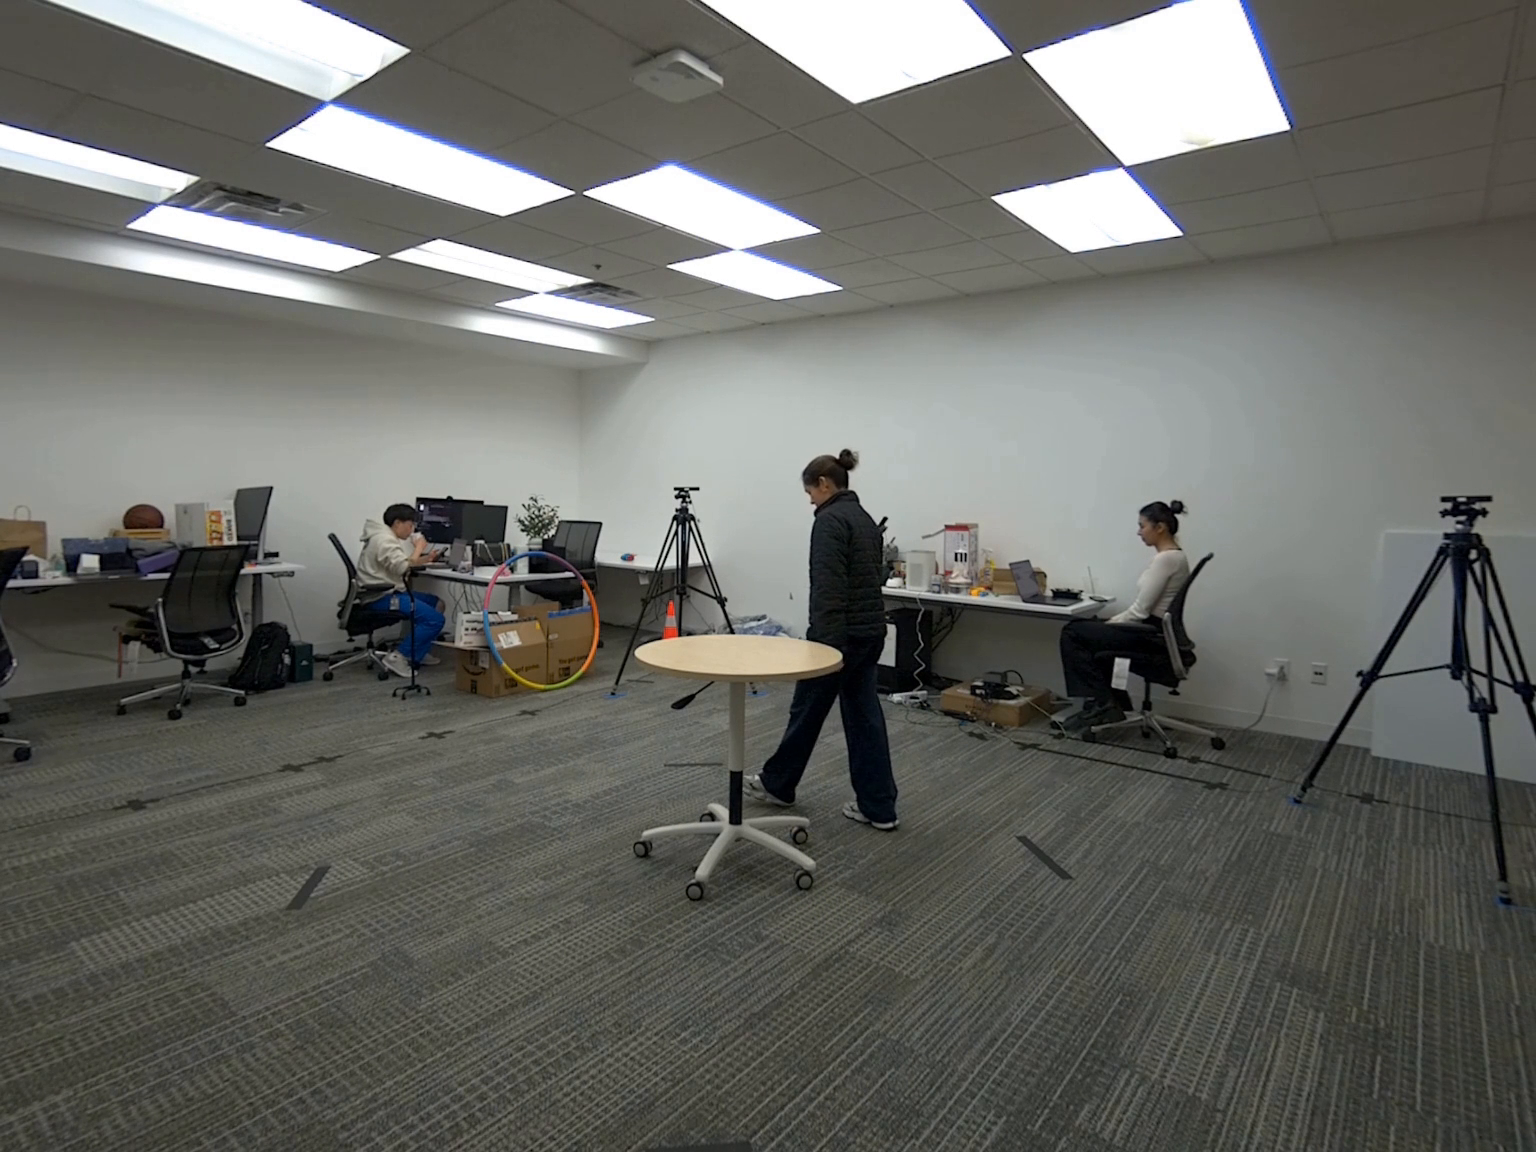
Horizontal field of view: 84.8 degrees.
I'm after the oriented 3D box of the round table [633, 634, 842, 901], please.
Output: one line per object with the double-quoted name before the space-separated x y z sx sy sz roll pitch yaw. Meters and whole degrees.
"round table" -0.100 0.668 3.165 0.784 0.784 0.789 1 4 -2
